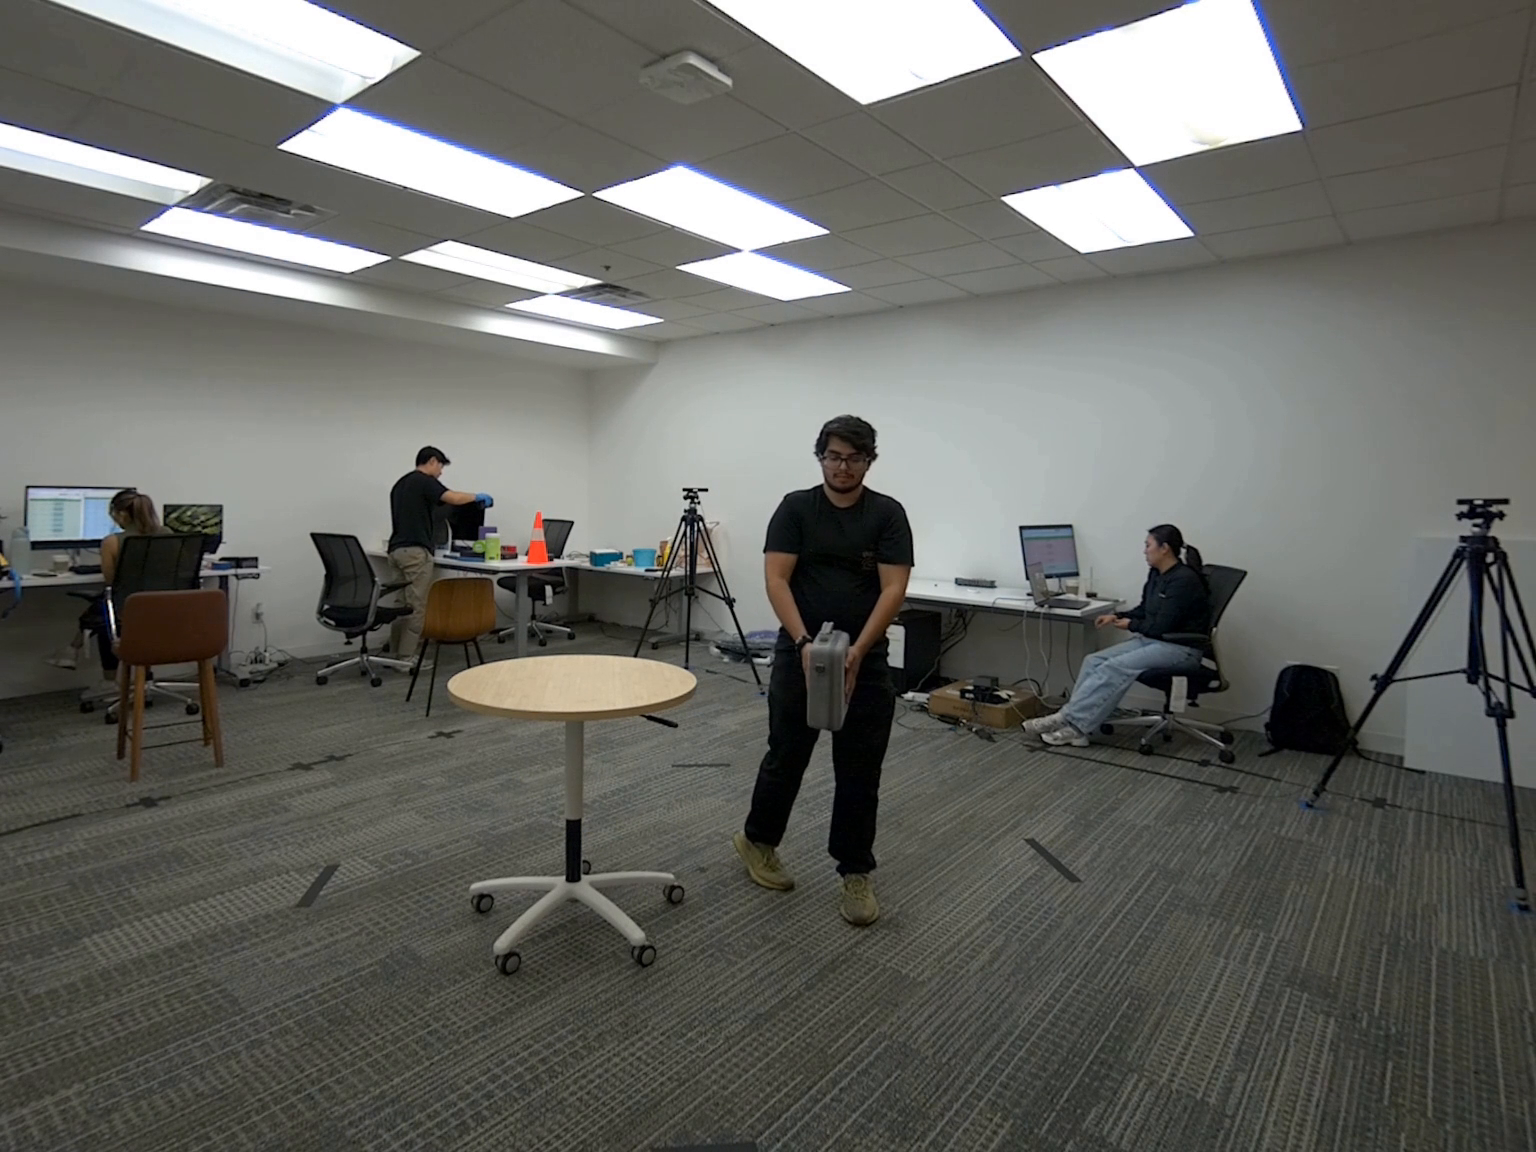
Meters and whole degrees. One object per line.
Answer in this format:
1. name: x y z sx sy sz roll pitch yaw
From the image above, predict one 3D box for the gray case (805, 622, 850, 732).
1. gray case: 0.176 0.301 2.562 0.105 0.259 0.255 -1 6 9
